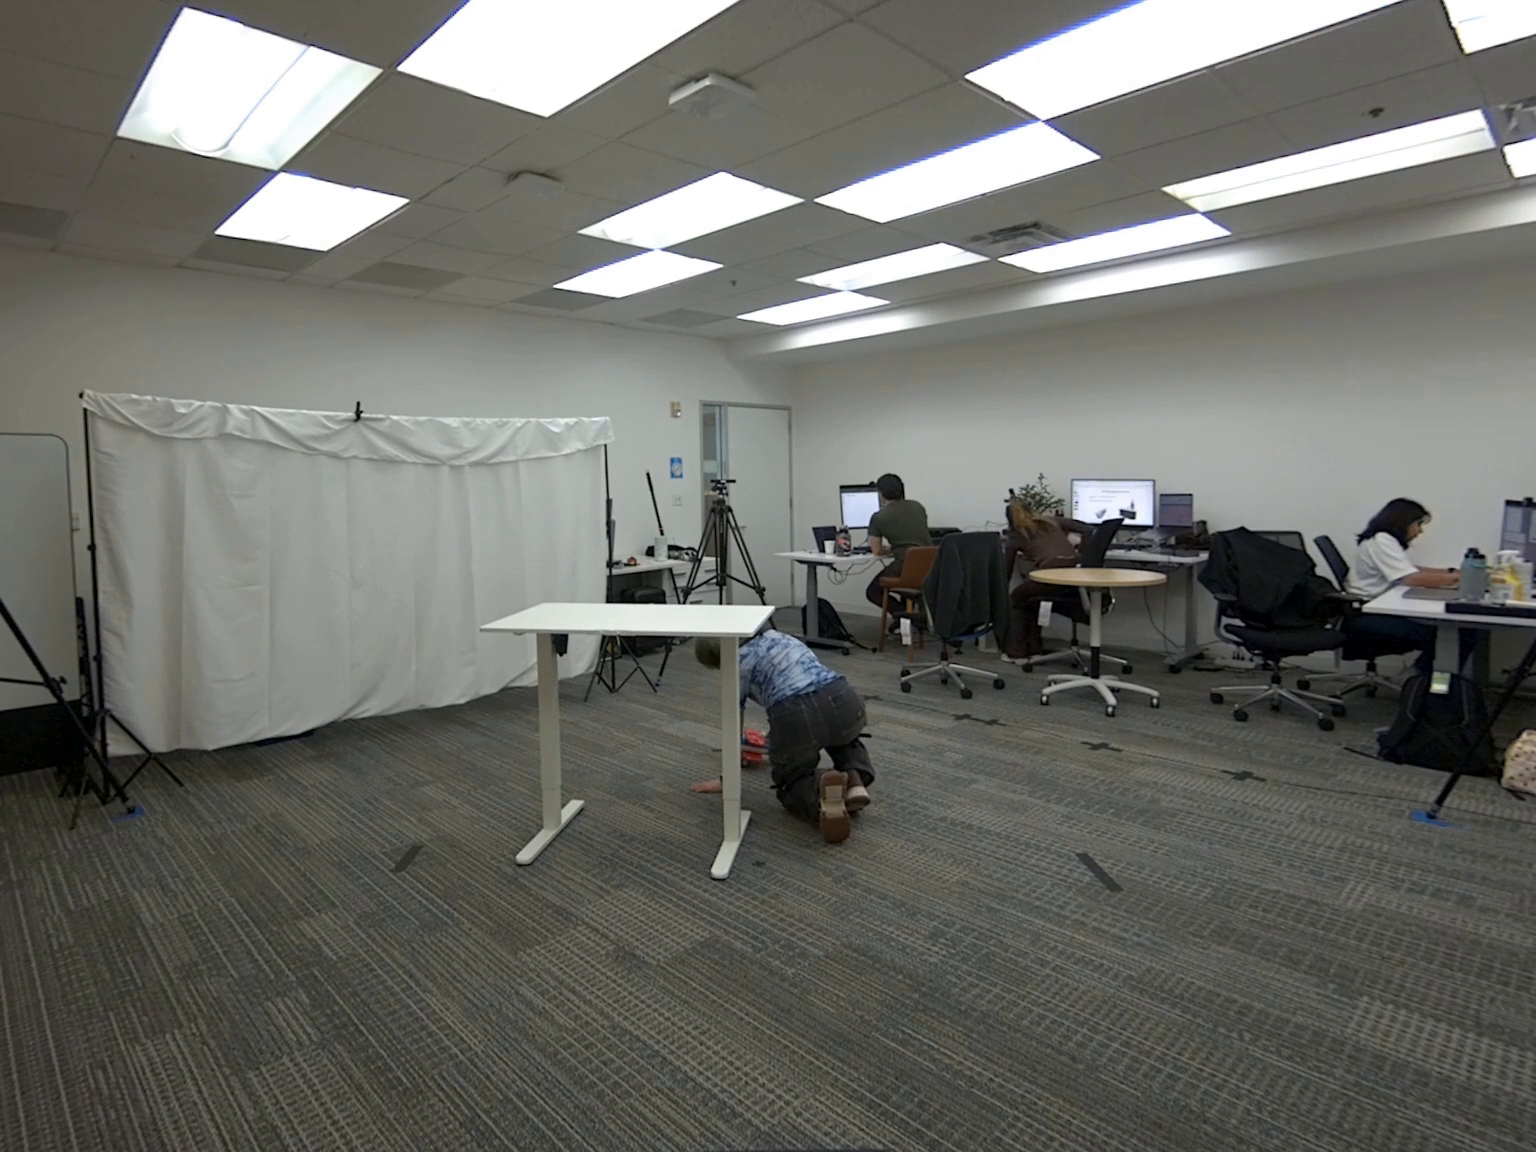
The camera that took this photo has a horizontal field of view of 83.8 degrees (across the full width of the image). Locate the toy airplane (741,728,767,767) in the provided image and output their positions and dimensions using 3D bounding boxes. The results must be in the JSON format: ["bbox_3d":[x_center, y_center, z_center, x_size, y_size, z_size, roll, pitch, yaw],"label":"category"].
[{"bbox_3d":[-0.038,0.850,4.236,0.253,0.156,0.258,-6,5,-31],"label":"toy airplane"}]
